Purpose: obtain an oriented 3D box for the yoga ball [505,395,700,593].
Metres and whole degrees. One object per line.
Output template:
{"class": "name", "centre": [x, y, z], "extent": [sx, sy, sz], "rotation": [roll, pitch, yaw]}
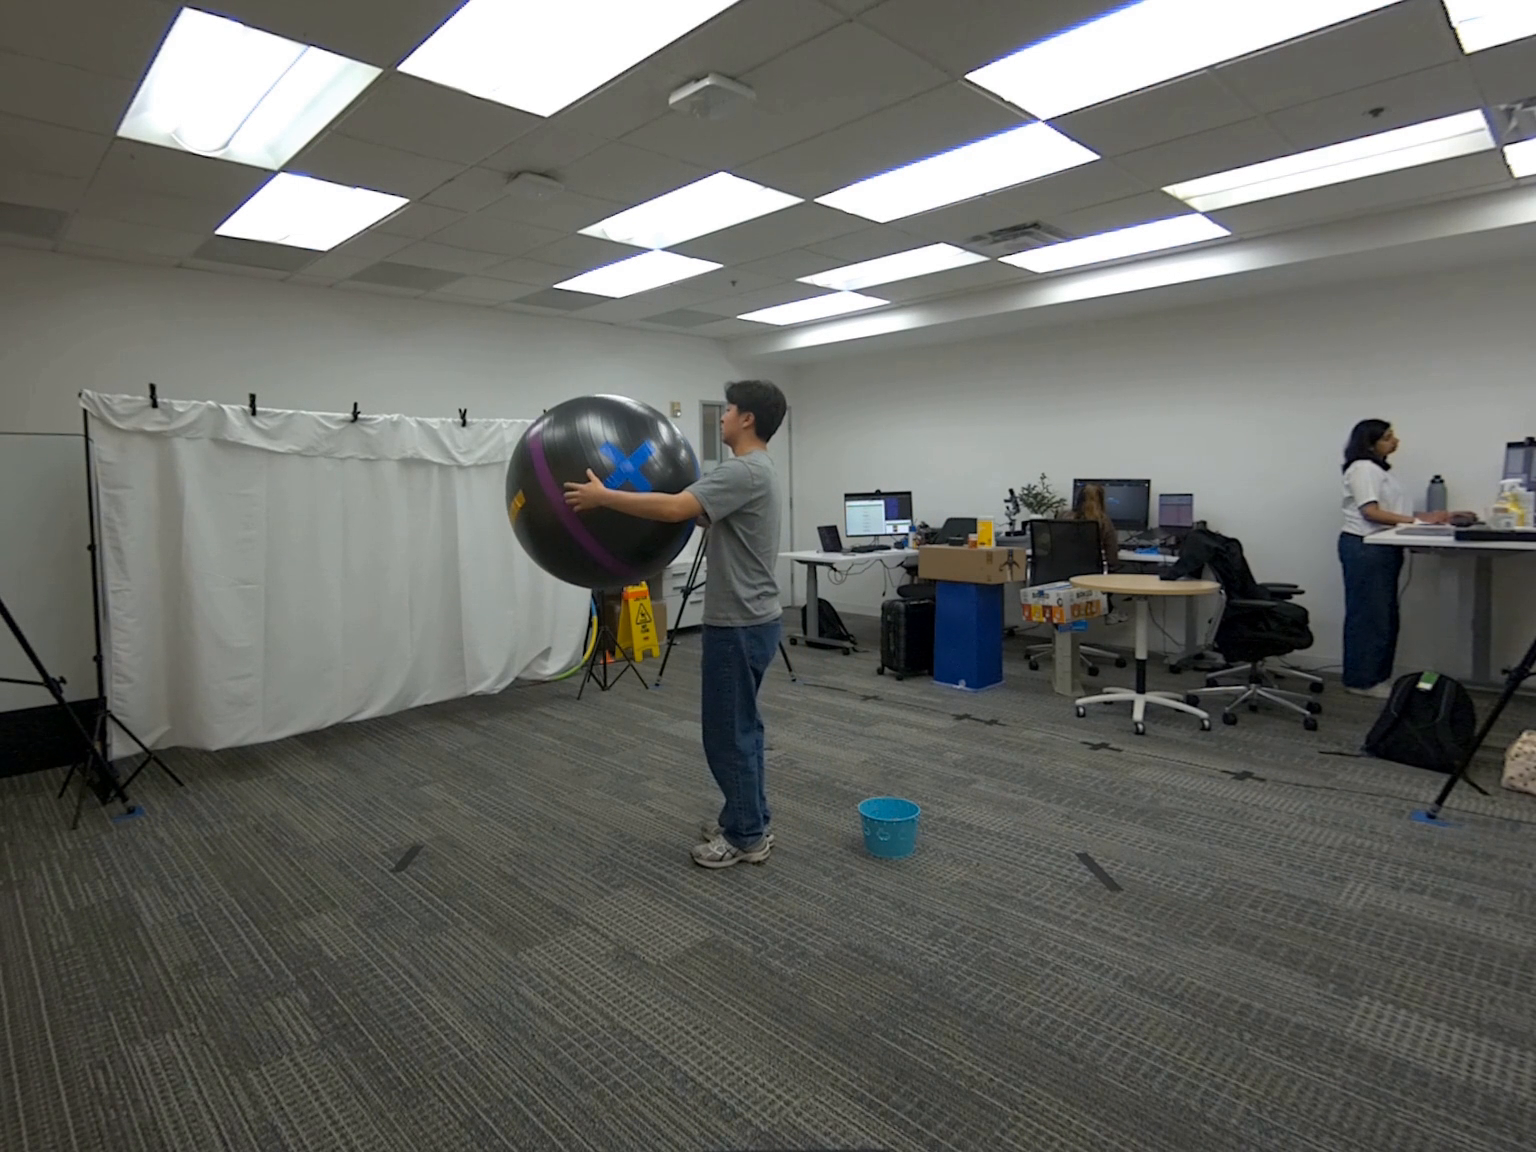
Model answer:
{"class": "yoga ball", "centre": [-0.649, -0.319, 3.338], "extent": [0.757, 0.755, 0.762], "rotation": [-1, 5, -2]}
